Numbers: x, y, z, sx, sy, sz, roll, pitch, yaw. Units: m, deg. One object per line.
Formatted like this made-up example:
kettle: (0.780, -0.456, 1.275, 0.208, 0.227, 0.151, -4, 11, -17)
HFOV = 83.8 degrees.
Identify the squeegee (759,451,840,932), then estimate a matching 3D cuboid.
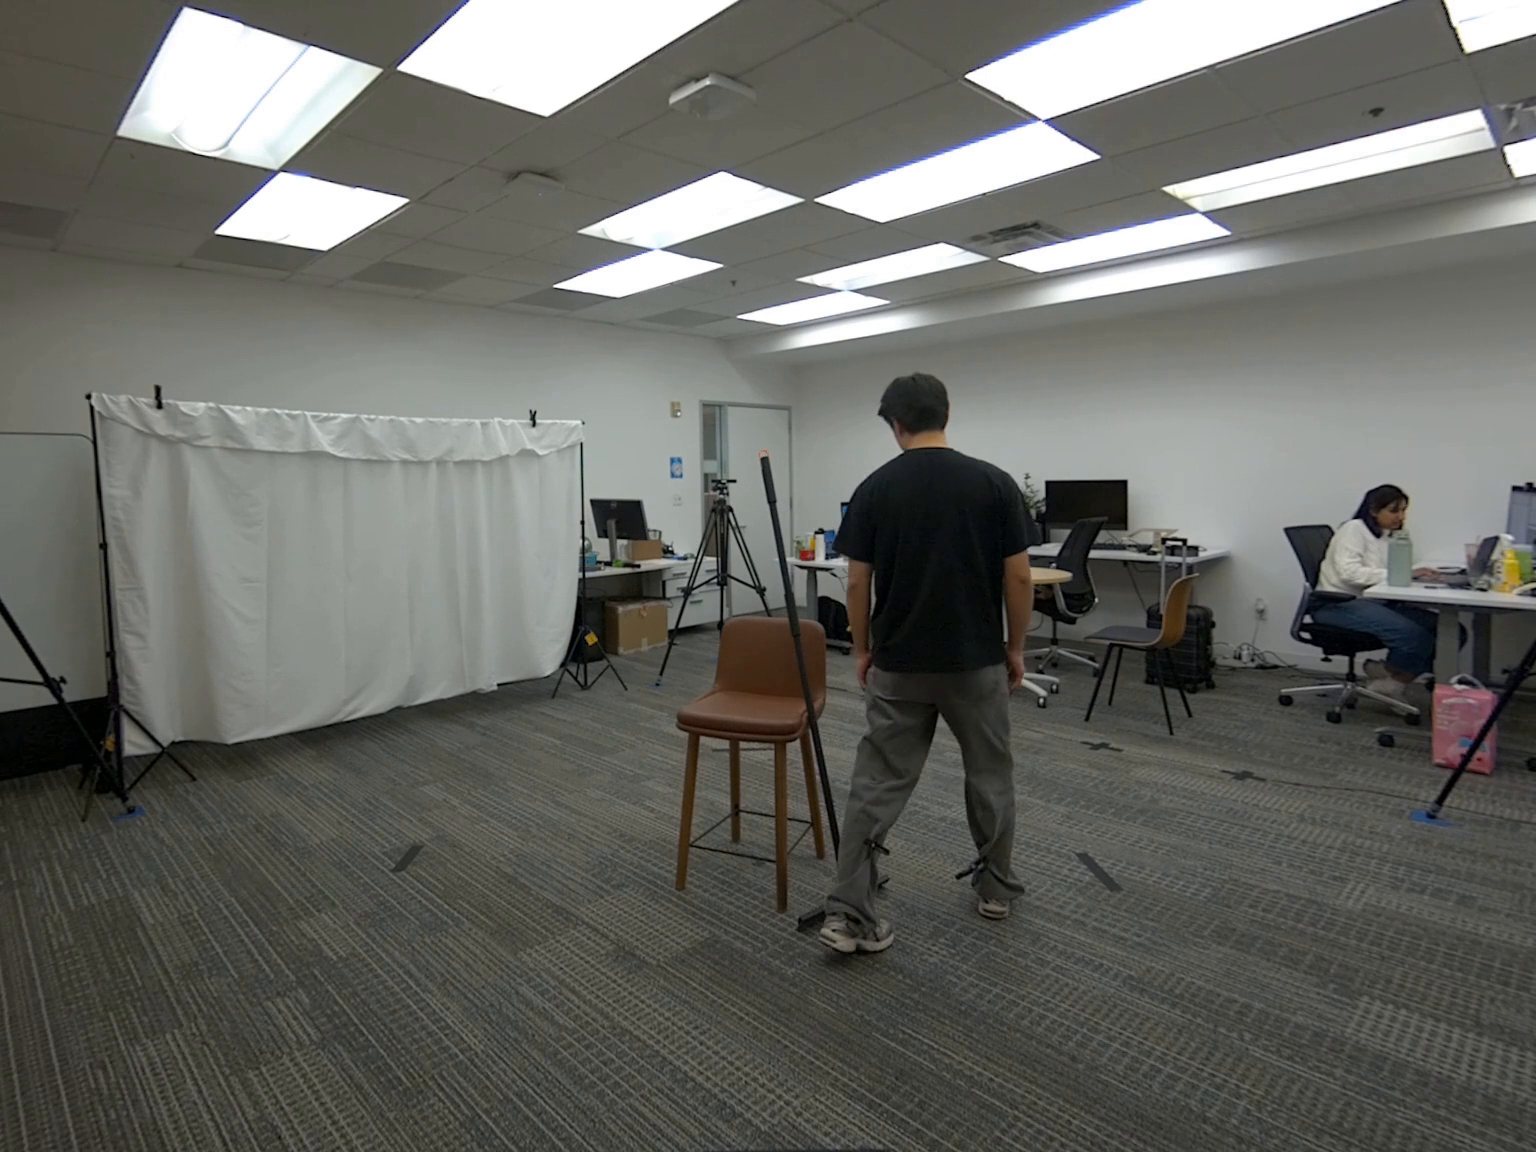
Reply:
squeegee: (0.121, 0.314, 2.882, 0.425, 1.548, 0.054, -3, -9, -45)
